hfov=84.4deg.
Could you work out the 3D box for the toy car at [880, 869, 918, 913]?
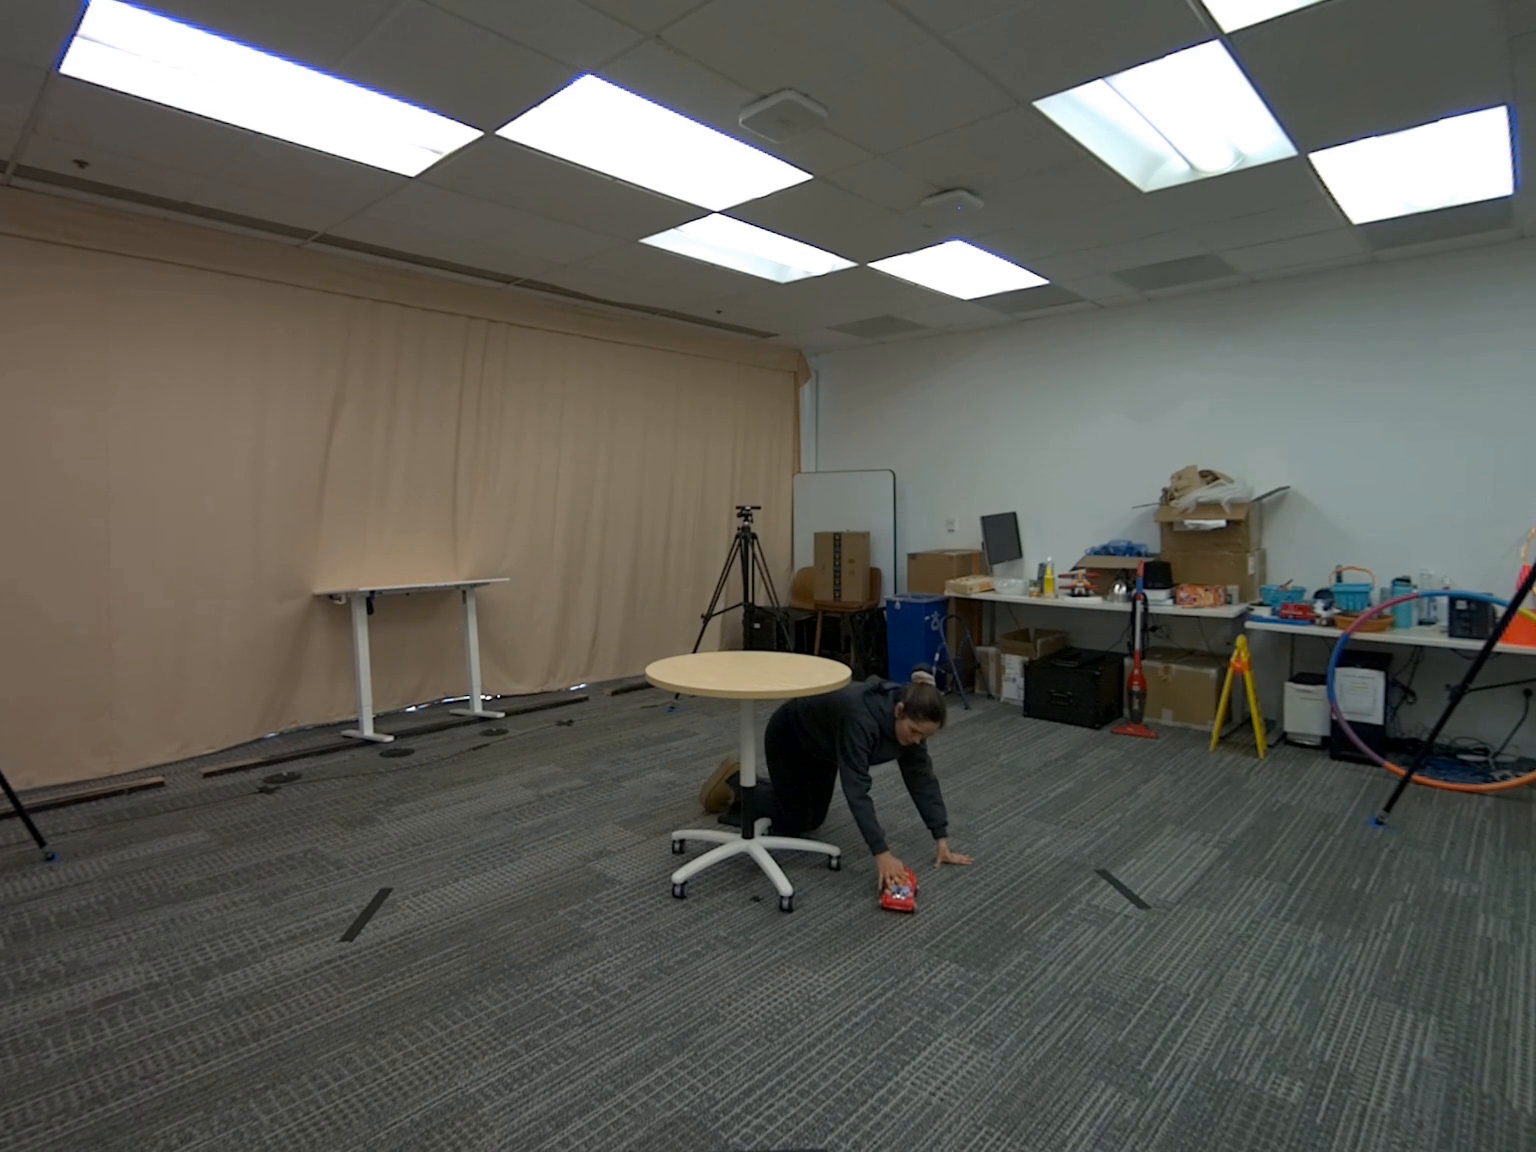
[{"bbox_3d":[0.490,1.102,2.973,0.132,0.082,0.253,-2,17,13],"label":"toy car"}]
